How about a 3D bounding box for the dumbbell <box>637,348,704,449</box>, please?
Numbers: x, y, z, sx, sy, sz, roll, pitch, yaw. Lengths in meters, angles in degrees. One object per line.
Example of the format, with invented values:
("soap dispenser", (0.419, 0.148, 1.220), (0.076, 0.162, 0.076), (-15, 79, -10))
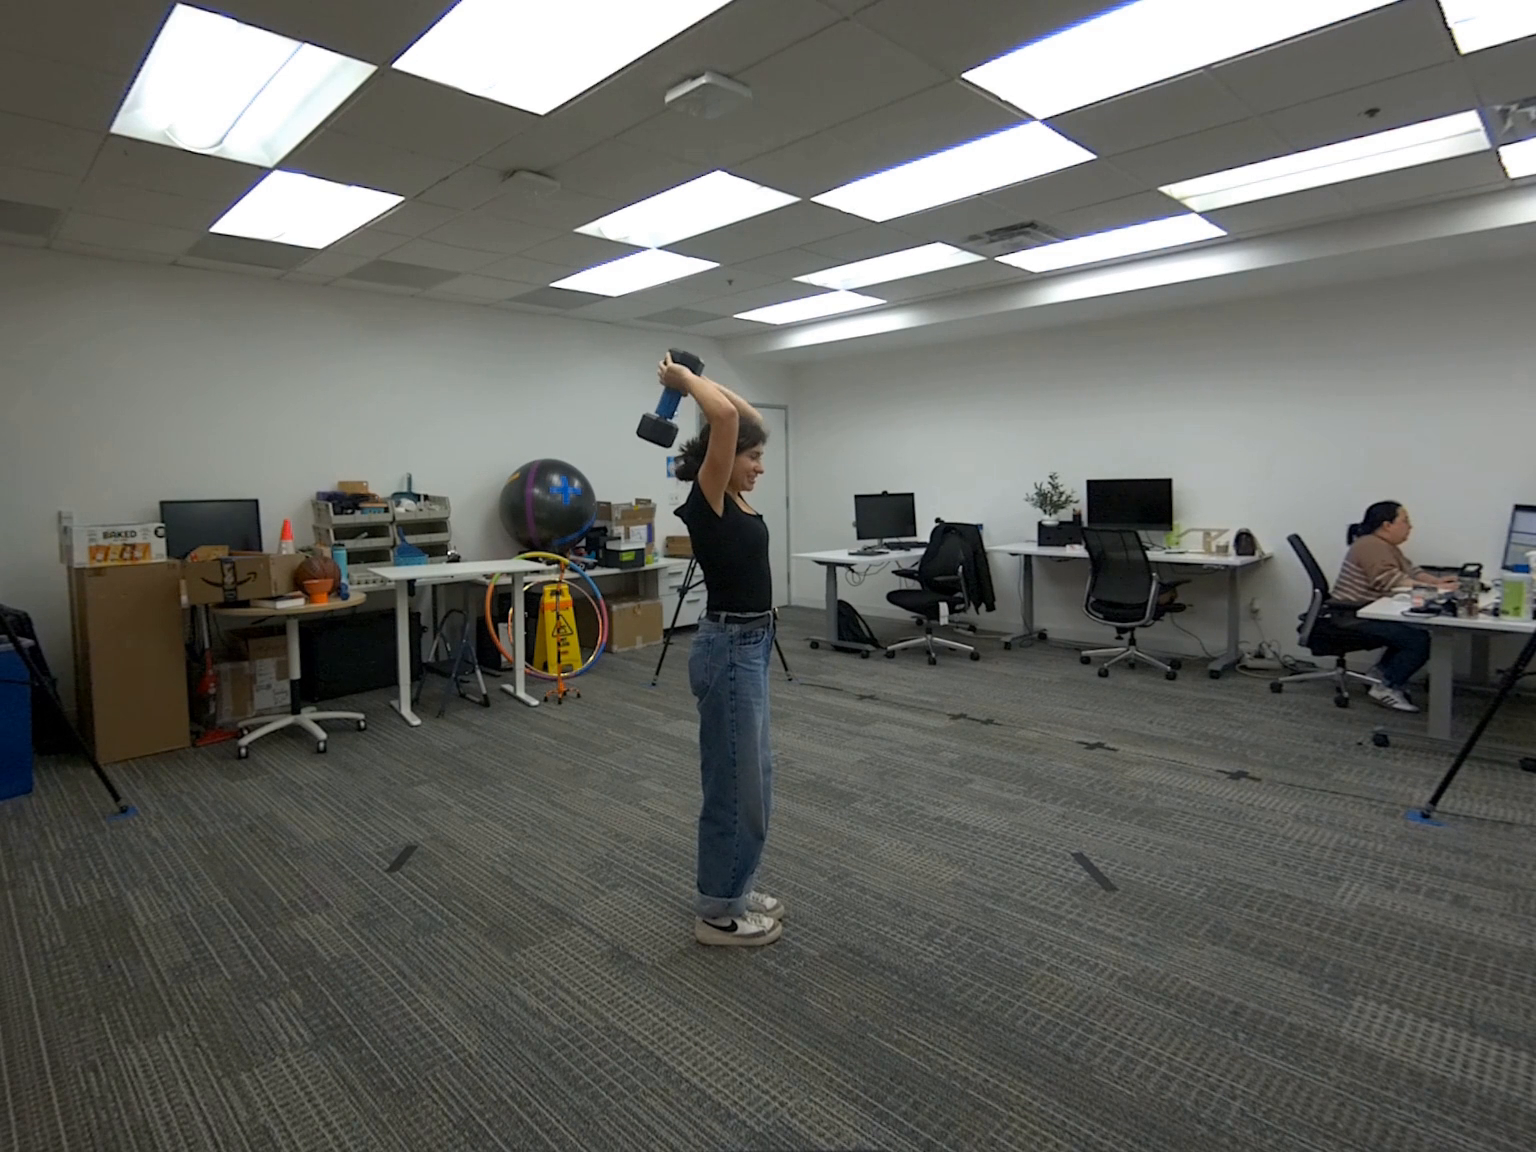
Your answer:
("dumbbell", (-0.295, -0.541, 2.604), (0.128, 0.293, 0.105), (30, 9, 39))
